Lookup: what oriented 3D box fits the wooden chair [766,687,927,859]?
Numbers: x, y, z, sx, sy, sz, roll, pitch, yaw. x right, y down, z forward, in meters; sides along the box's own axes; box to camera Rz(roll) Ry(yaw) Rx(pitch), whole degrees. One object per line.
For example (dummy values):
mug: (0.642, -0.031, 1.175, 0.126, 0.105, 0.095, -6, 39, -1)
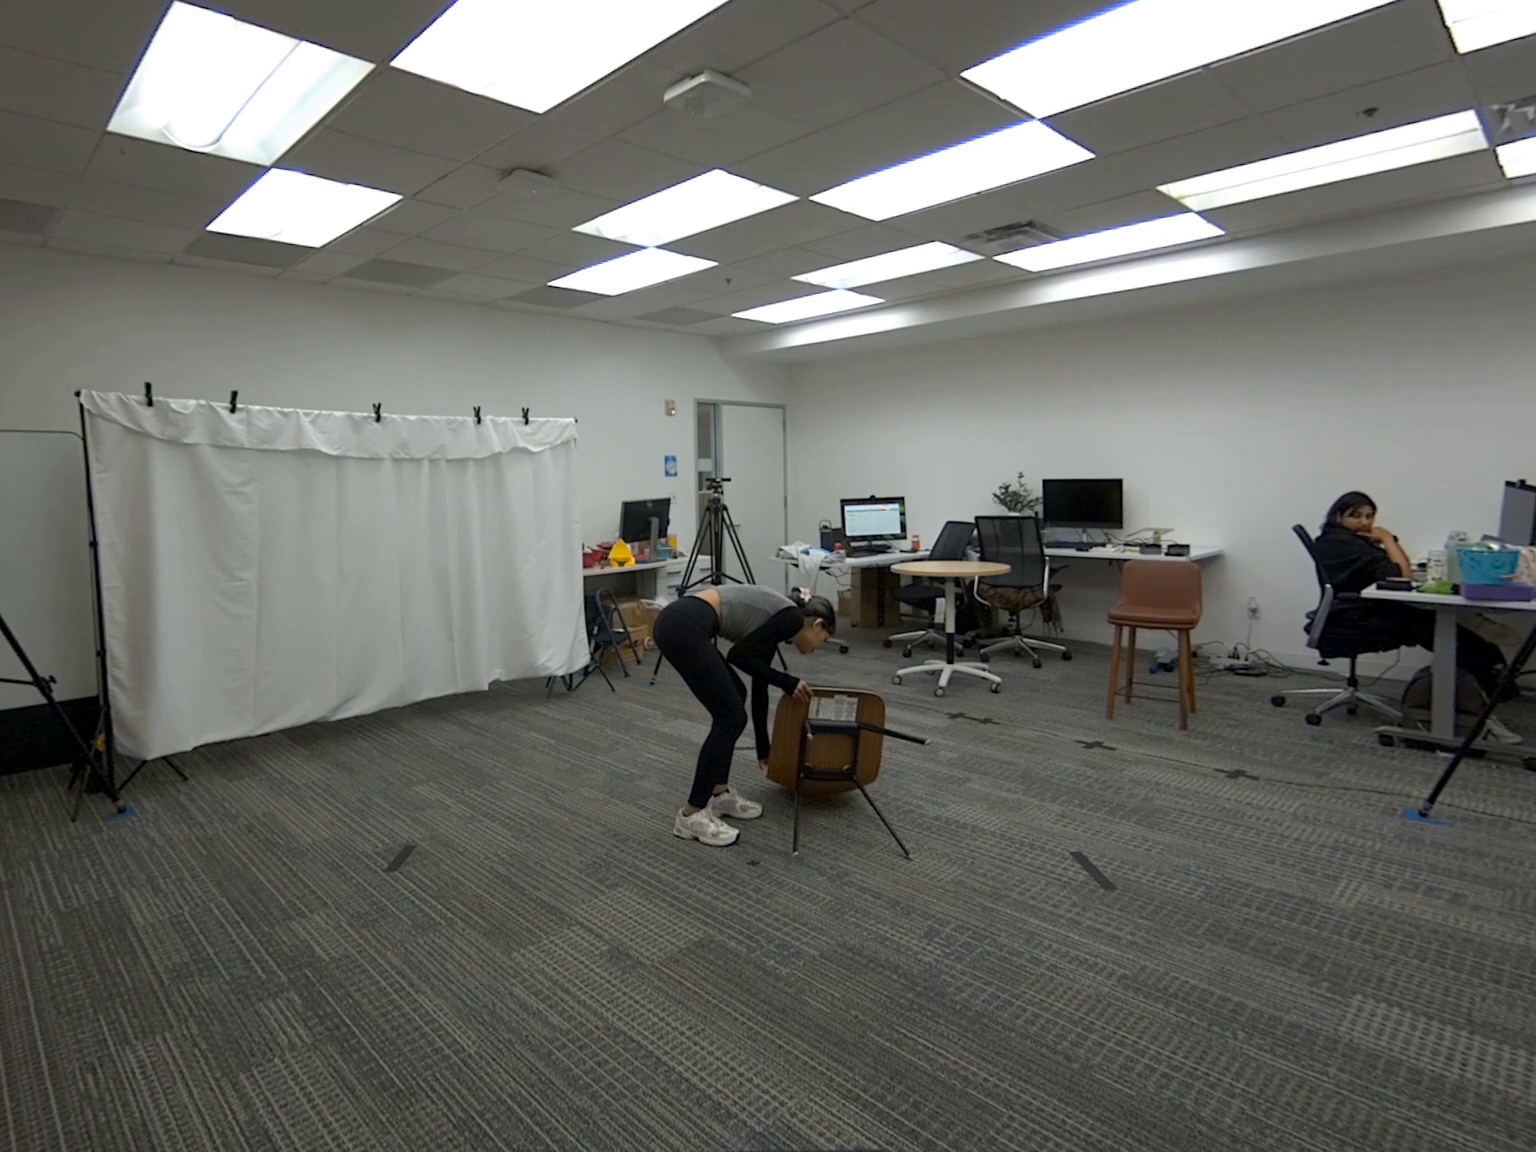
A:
wooden chair: (0.255, 0.707, 3.462, 0.473, 0.522, 0.888, 5, 4, -10)
